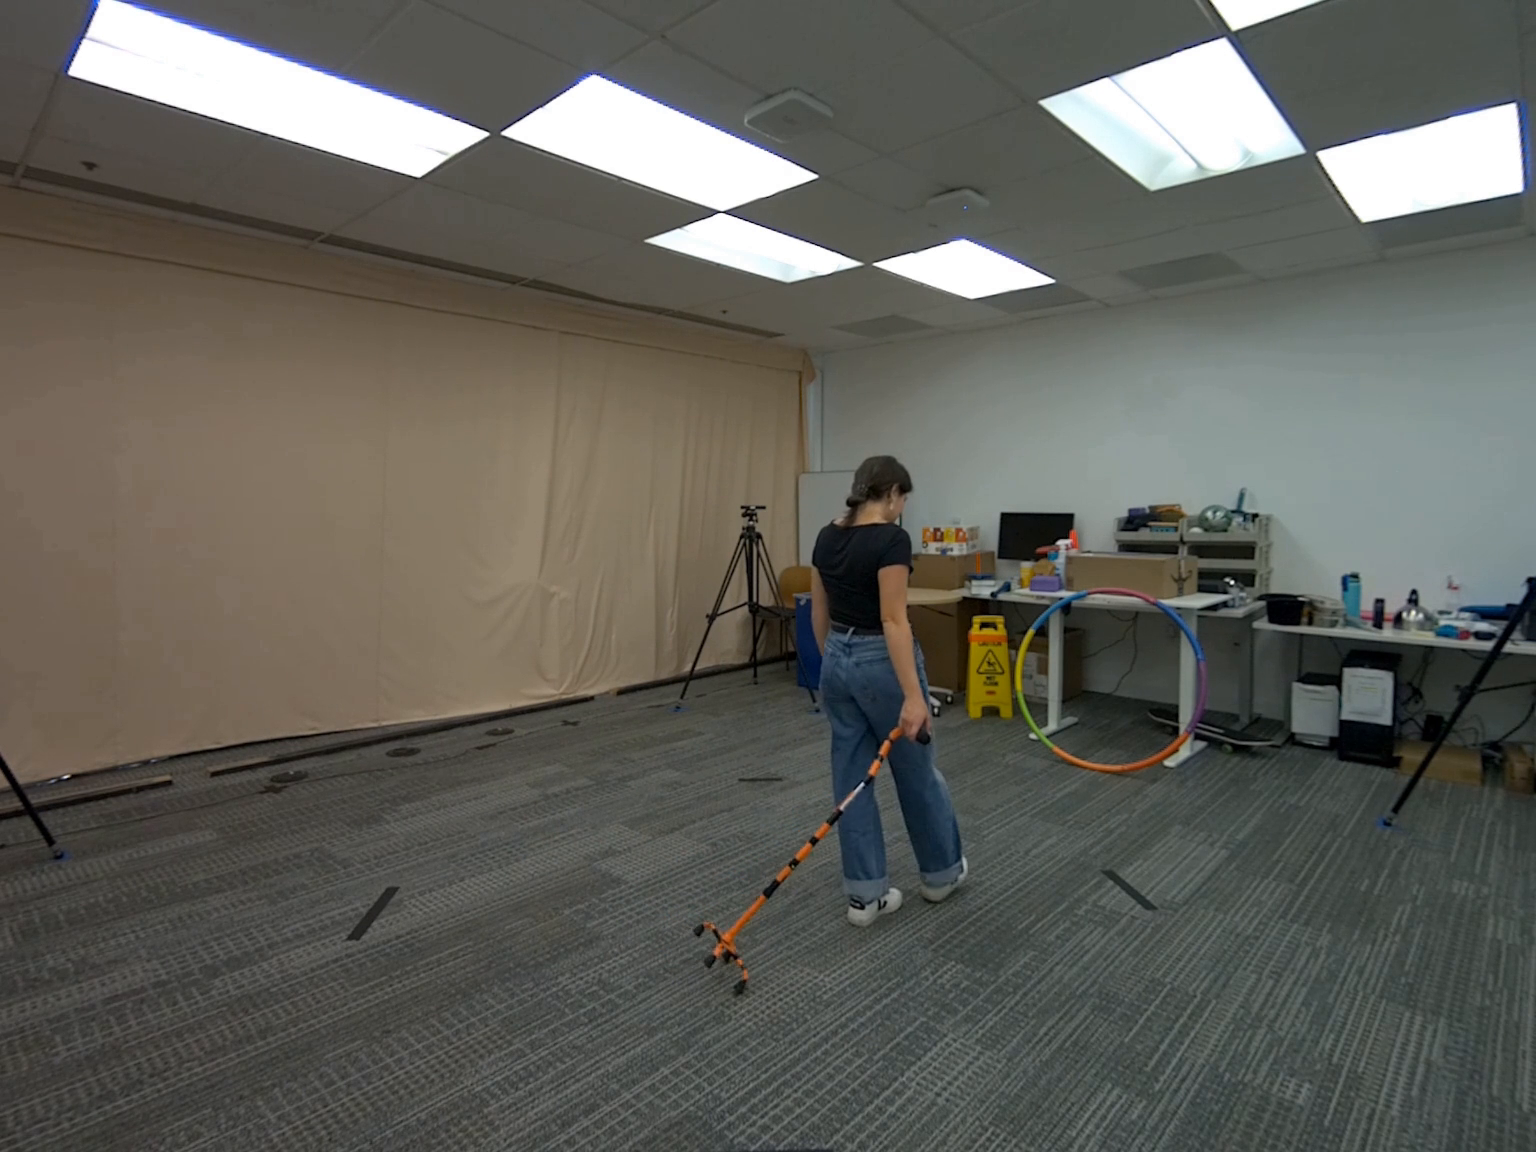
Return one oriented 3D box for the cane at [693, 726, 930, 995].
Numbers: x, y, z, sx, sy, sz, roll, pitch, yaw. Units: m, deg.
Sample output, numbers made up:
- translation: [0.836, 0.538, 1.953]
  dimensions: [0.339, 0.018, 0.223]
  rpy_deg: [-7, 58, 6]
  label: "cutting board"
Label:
- translation: [0.161, 0.805, 2.515]
  dimensions: [0.149, 0.907, 0.209]
  rpy_deg: [43, -5, -12]
  label: "cane"
